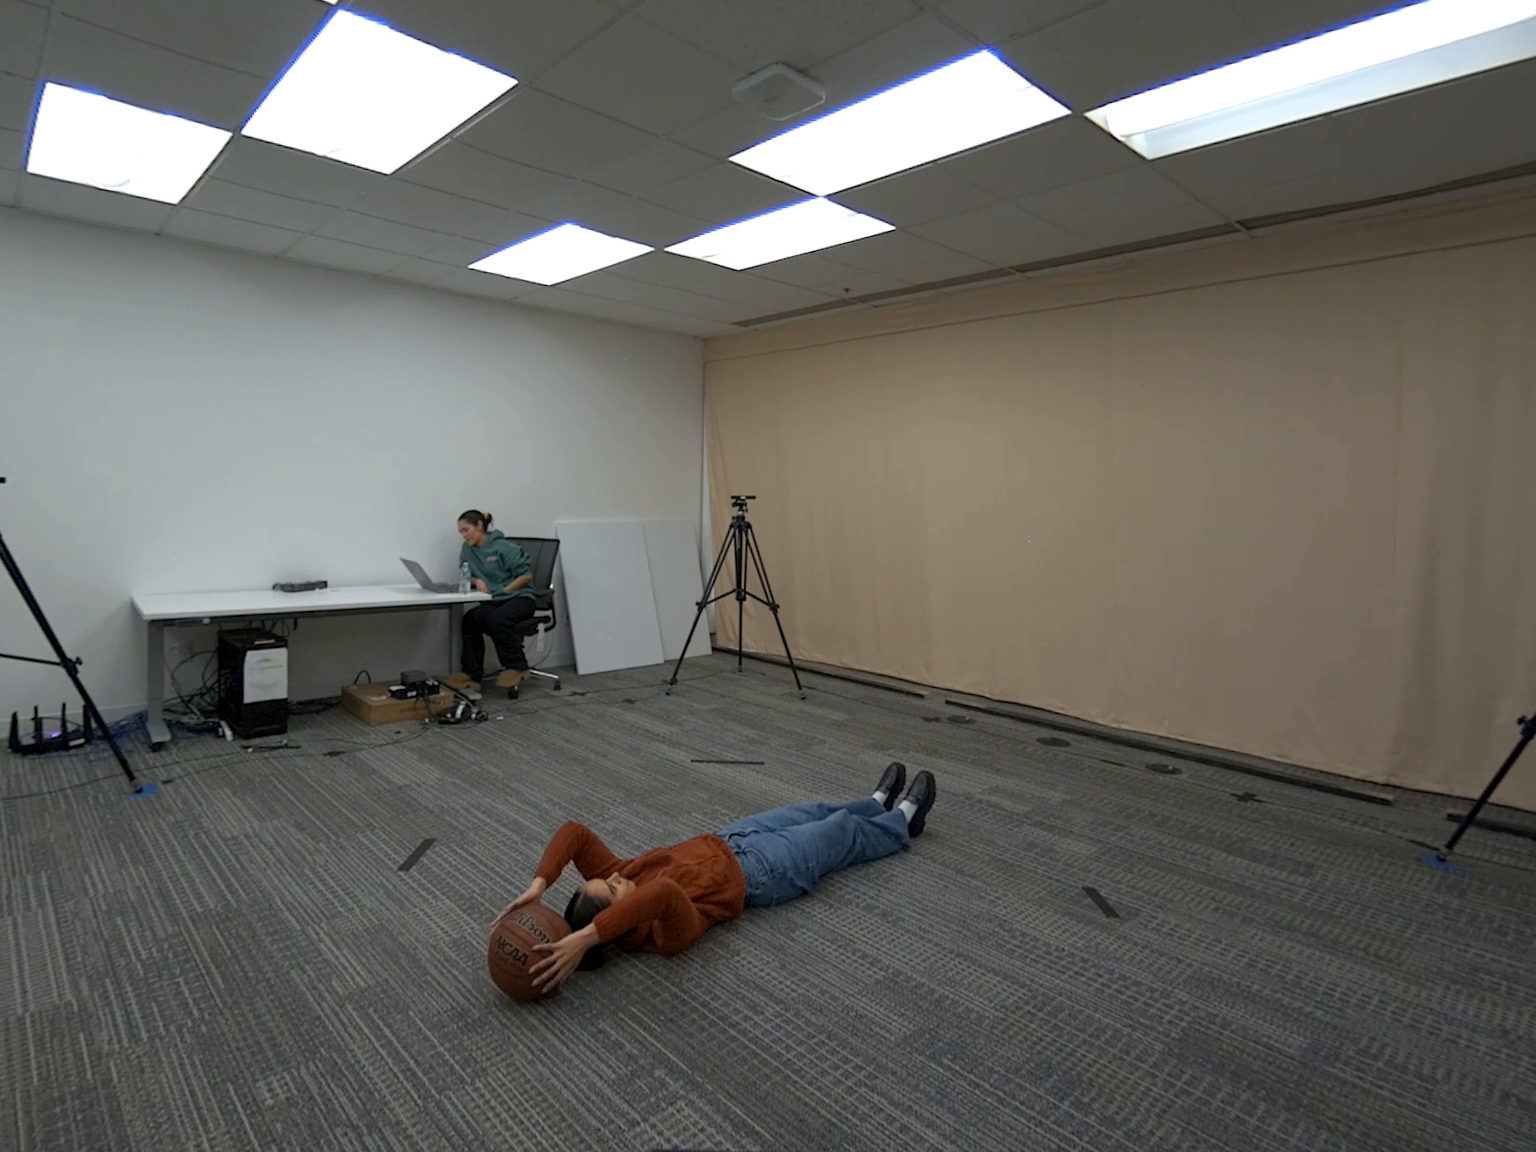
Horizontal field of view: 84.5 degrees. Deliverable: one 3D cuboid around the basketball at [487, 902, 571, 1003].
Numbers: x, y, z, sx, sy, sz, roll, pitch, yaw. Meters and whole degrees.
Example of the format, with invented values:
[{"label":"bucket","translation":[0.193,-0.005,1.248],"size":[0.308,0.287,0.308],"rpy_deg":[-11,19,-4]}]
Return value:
[{"label":"basketball","translation":[-0.666,1.050,2.330],"size":[0.236,0.234,0.237],"rpy_deg":[0,8,-1]}]
